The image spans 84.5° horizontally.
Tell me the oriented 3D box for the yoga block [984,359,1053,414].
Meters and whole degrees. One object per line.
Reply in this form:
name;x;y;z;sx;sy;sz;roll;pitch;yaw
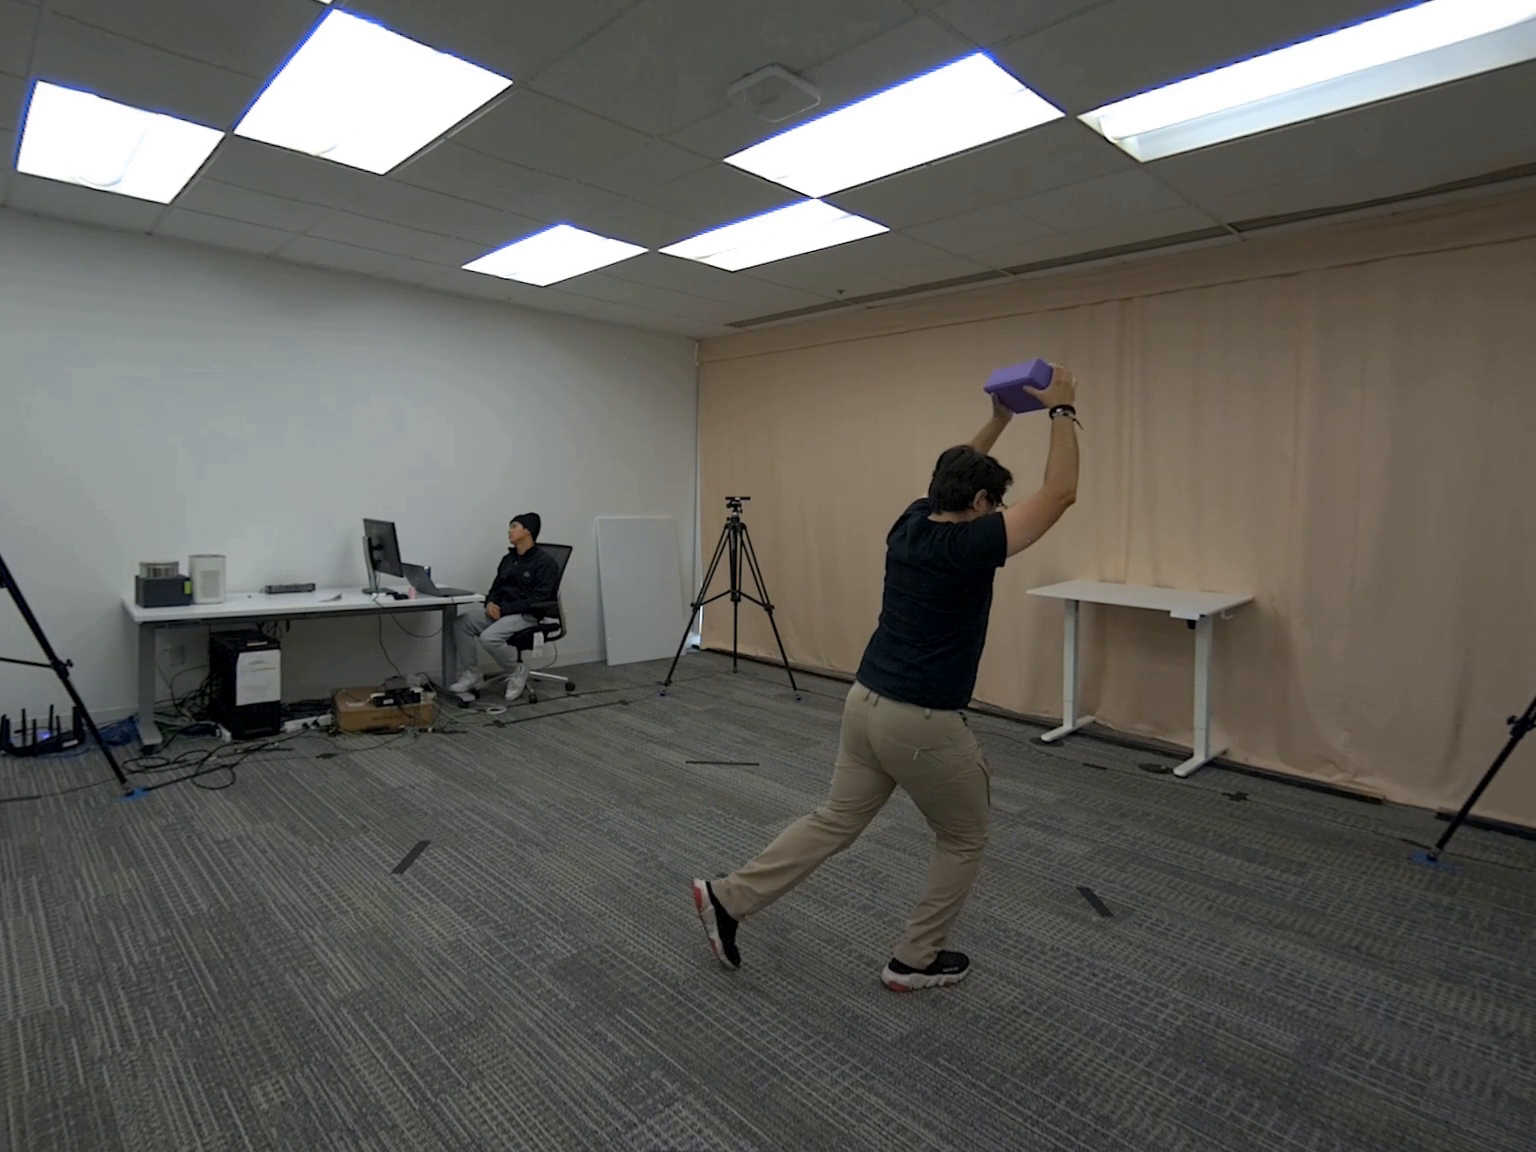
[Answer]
yoga block;0.750;-0.556;2.476;0.147;0.076;0.232;30;-5;-15
